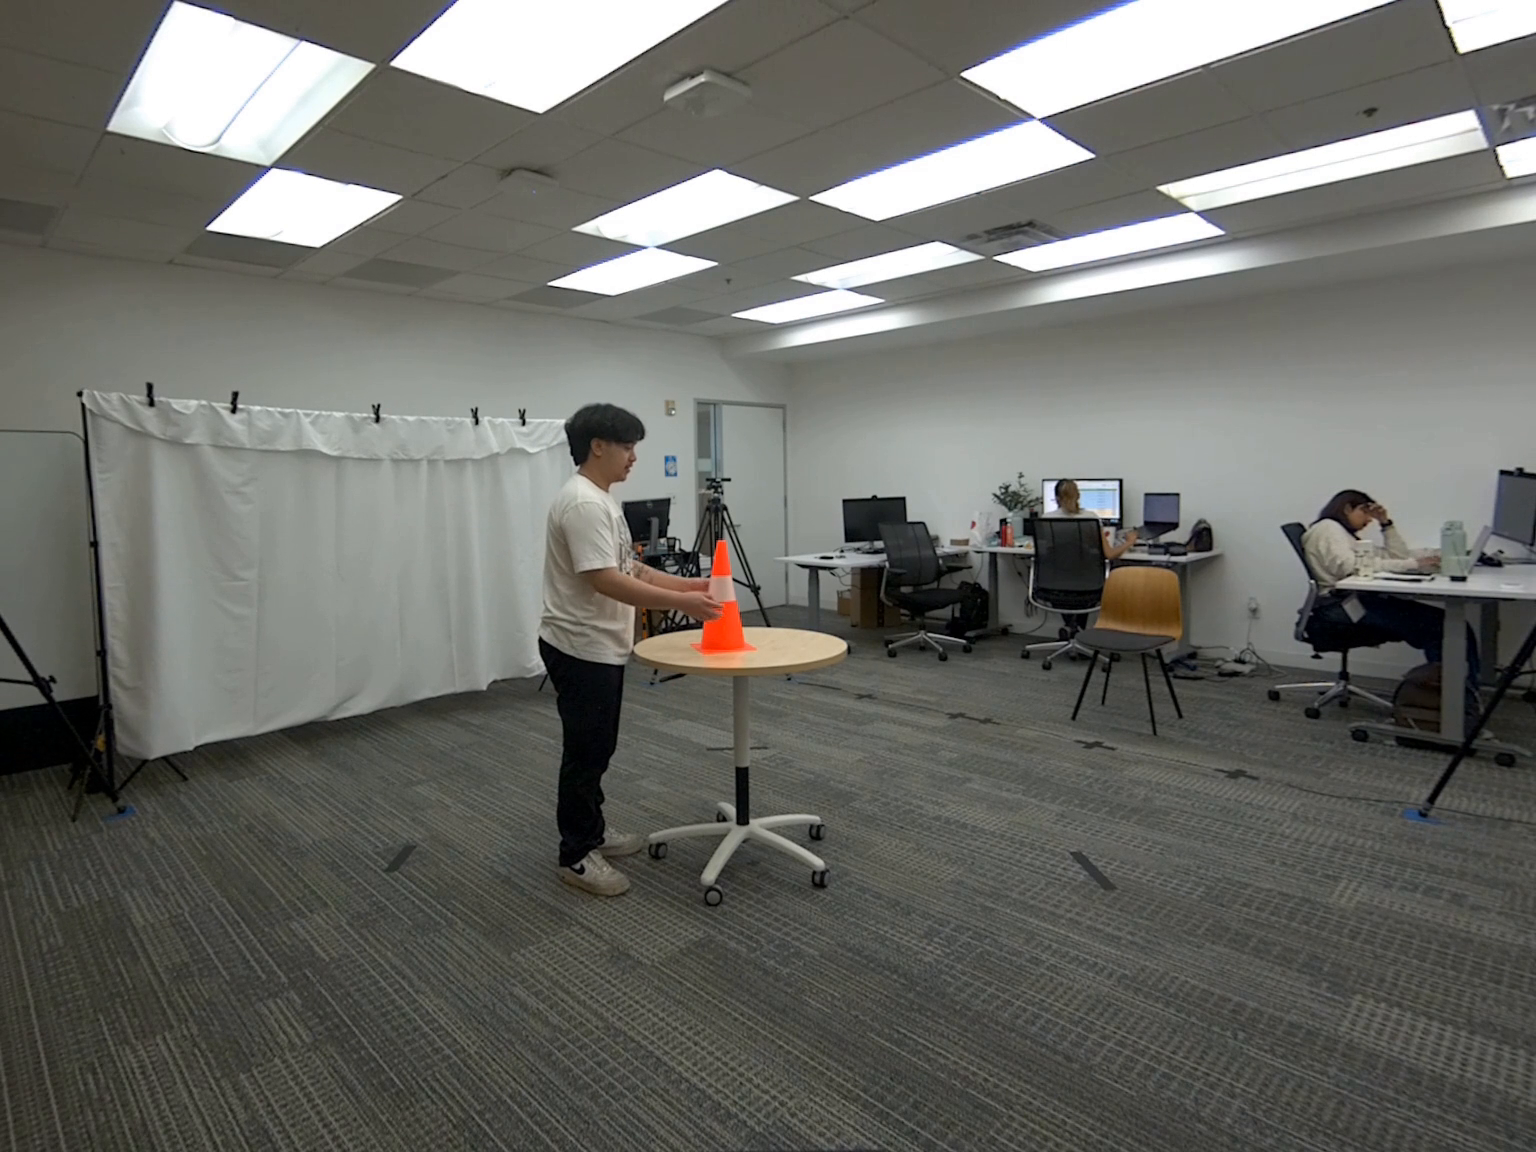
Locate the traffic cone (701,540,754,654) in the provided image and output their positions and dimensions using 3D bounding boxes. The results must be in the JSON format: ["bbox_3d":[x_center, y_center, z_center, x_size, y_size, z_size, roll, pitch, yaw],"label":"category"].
[{"bbox_3d":[-0.168,0.067,3.037,0.199,0.383,0.209,0,2,-22],"label":"traffic cone"}]
